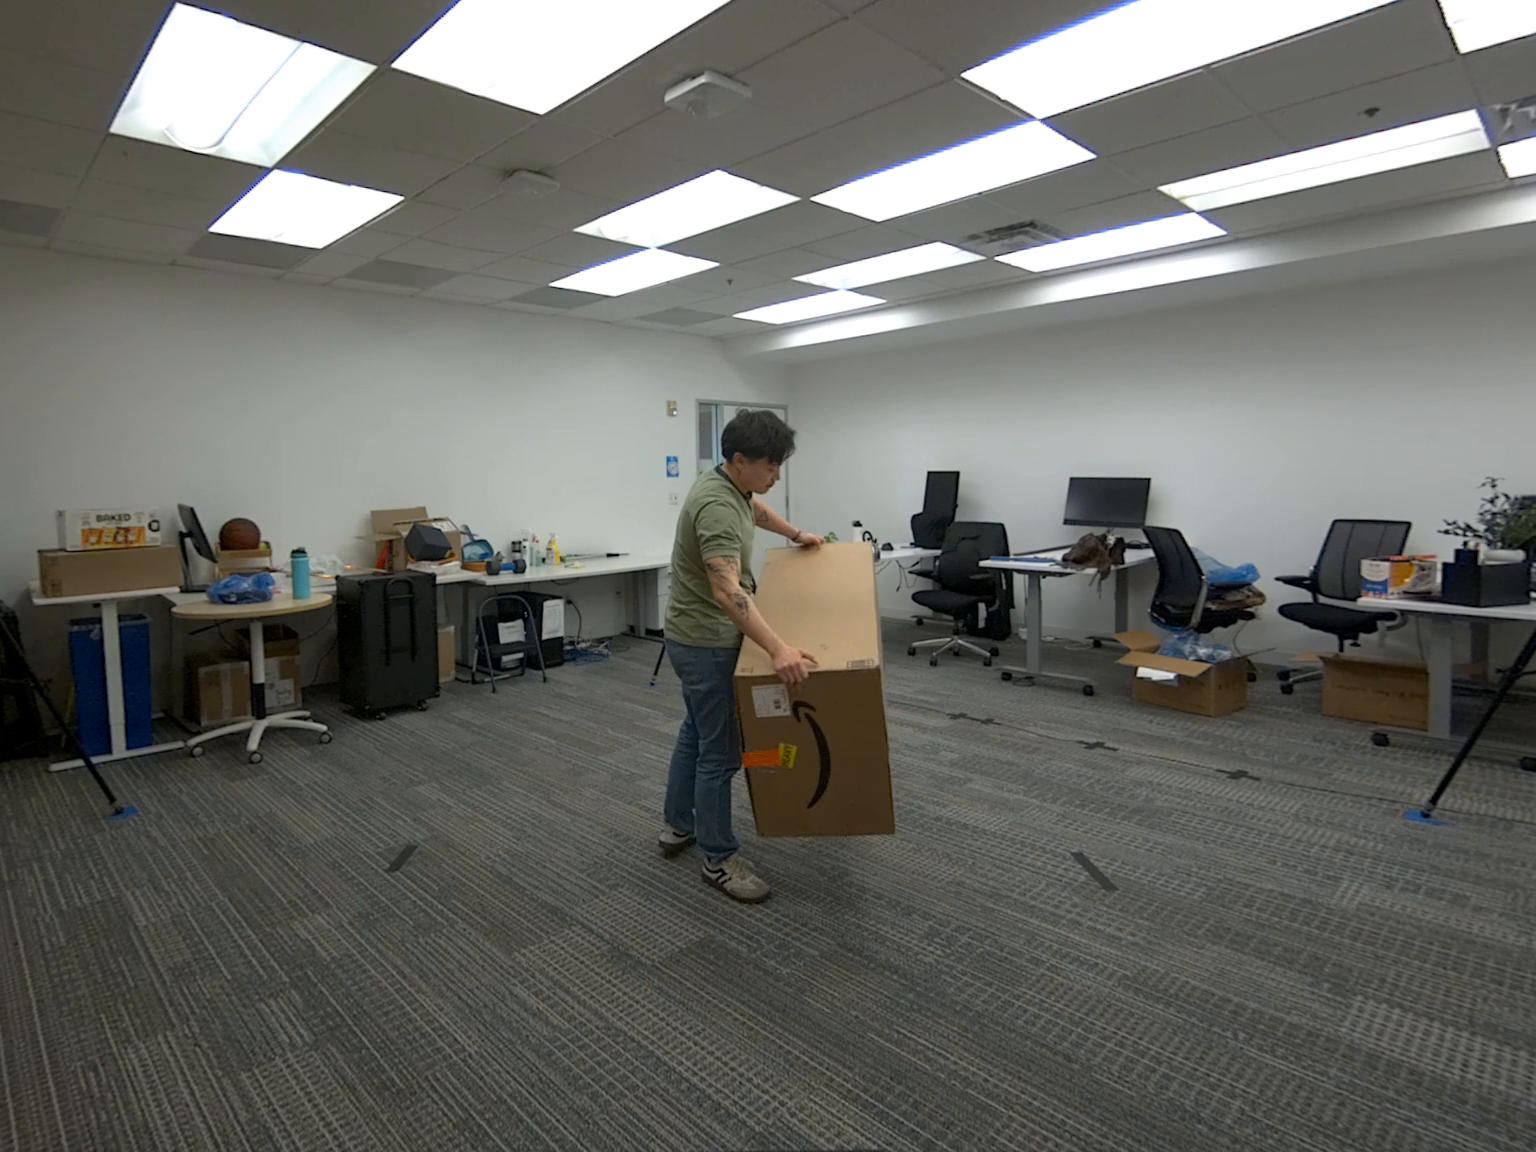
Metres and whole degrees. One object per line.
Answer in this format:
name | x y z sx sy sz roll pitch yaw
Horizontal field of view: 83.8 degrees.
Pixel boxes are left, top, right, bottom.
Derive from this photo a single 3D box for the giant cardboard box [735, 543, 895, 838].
giant cardboard box | 0.186 0.336 3.004 0.429 0.566 1.038 -6 21 8
